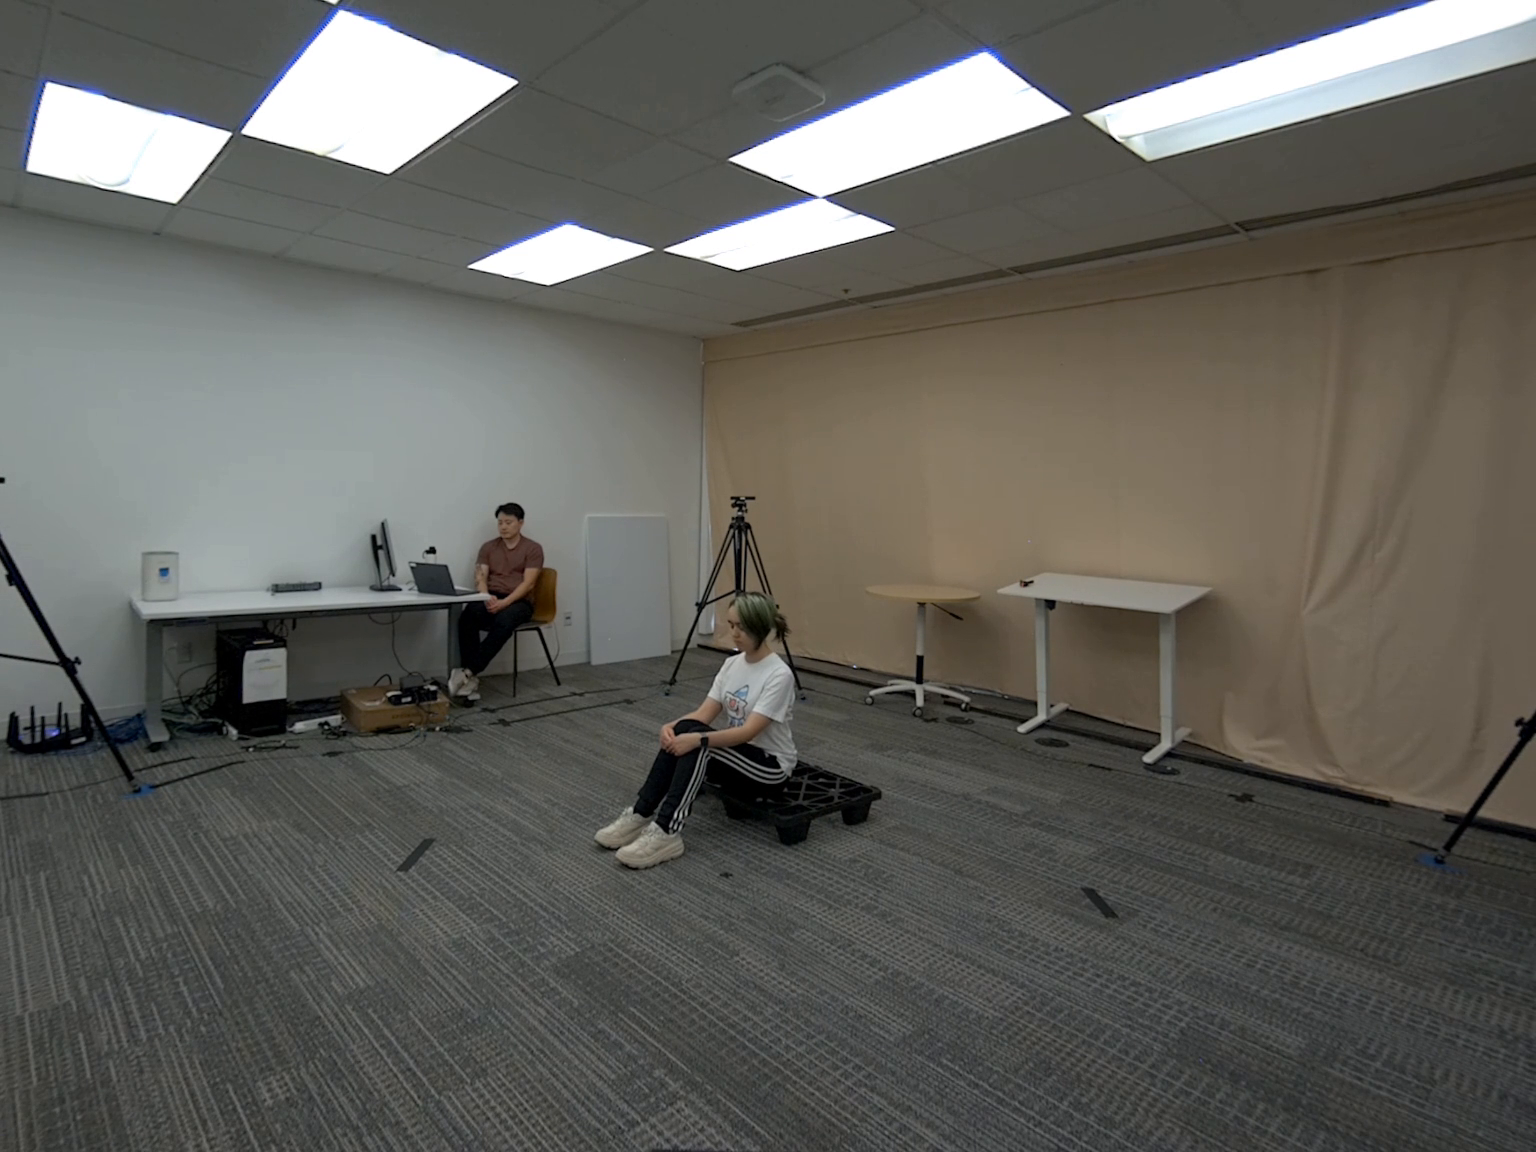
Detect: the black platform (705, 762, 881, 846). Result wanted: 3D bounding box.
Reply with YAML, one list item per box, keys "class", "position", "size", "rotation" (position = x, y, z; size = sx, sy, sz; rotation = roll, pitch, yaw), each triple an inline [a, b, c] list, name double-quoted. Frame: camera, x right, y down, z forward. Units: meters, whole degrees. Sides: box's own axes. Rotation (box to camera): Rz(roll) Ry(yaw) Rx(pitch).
- class: "black platform"
  position: [0.009, 0.980, 3.803]
  size: [0.591, 0.143, 0.826]
  rotation: [-3, 6, -40]
